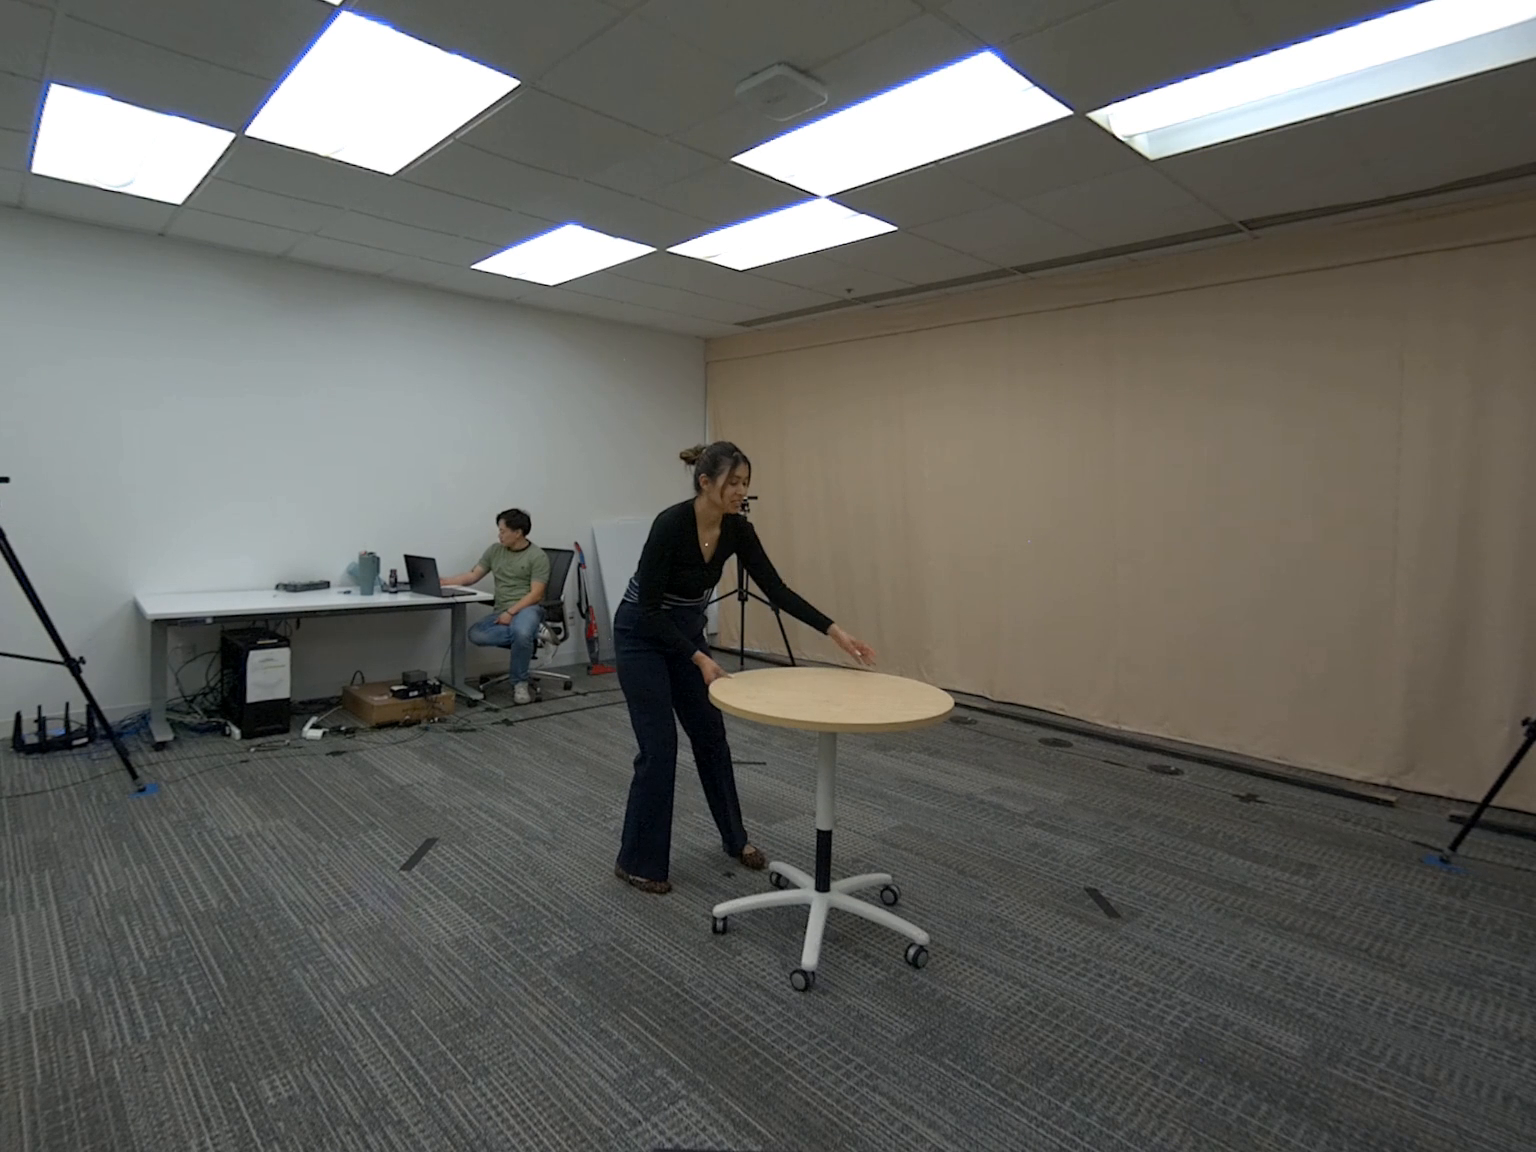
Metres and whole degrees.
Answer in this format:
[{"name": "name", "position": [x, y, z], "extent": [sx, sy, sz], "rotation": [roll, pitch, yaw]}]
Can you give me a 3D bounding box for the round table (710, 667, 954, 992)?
[{"name": "round table", "position": [0.180, 0.759, 2.689], "extent": [0.763, 0.792, 0.767], "rotation": [2, 4, -2]}]
